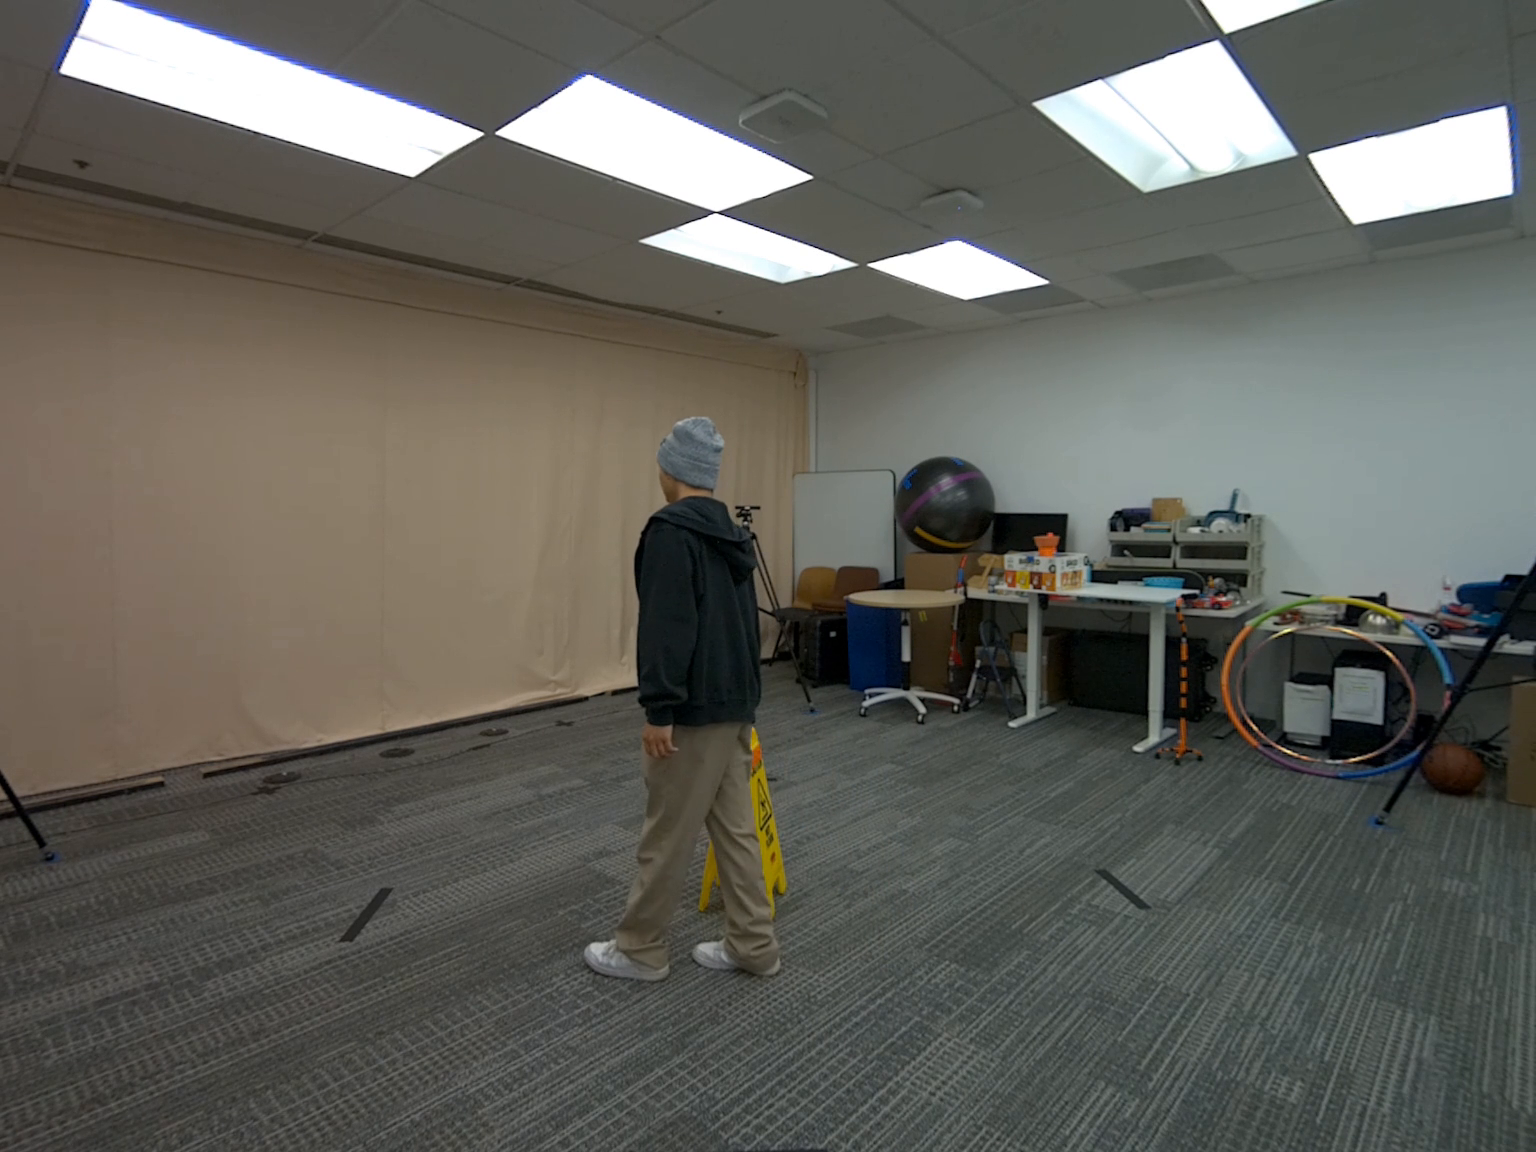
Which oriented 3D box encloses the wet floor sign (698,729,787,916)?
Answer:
[{"bbox_3d":[-0.087,0.822,2.969,0.294,0.645,0.278,0,2,15],"label":"wet floor sign"}]
